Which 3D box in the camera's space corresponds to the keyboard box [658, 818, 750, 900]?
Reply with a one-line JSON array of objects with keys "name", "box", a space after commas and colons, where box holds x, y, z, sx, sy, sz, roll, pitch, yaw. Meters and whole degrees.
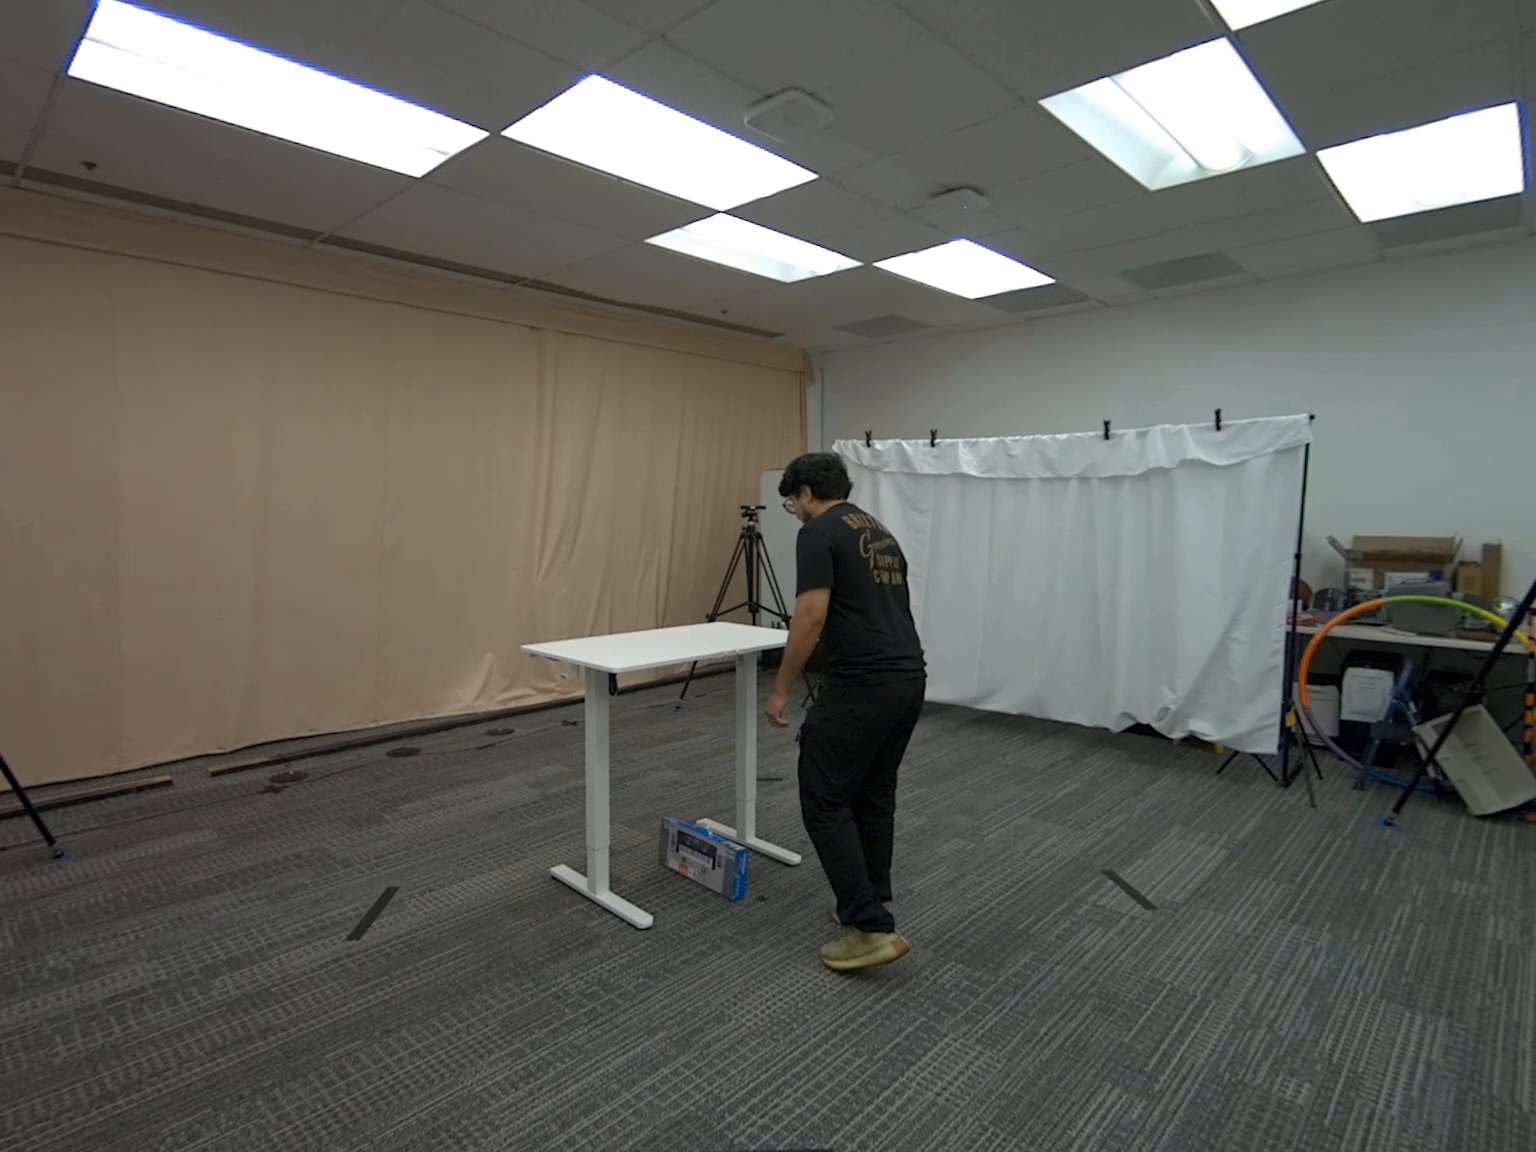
[{"name": "keyboard box", "box": [-0.249, 1.045, 3.139, 0.057, 0.176, 0.451, 7, -2, -43]}]
